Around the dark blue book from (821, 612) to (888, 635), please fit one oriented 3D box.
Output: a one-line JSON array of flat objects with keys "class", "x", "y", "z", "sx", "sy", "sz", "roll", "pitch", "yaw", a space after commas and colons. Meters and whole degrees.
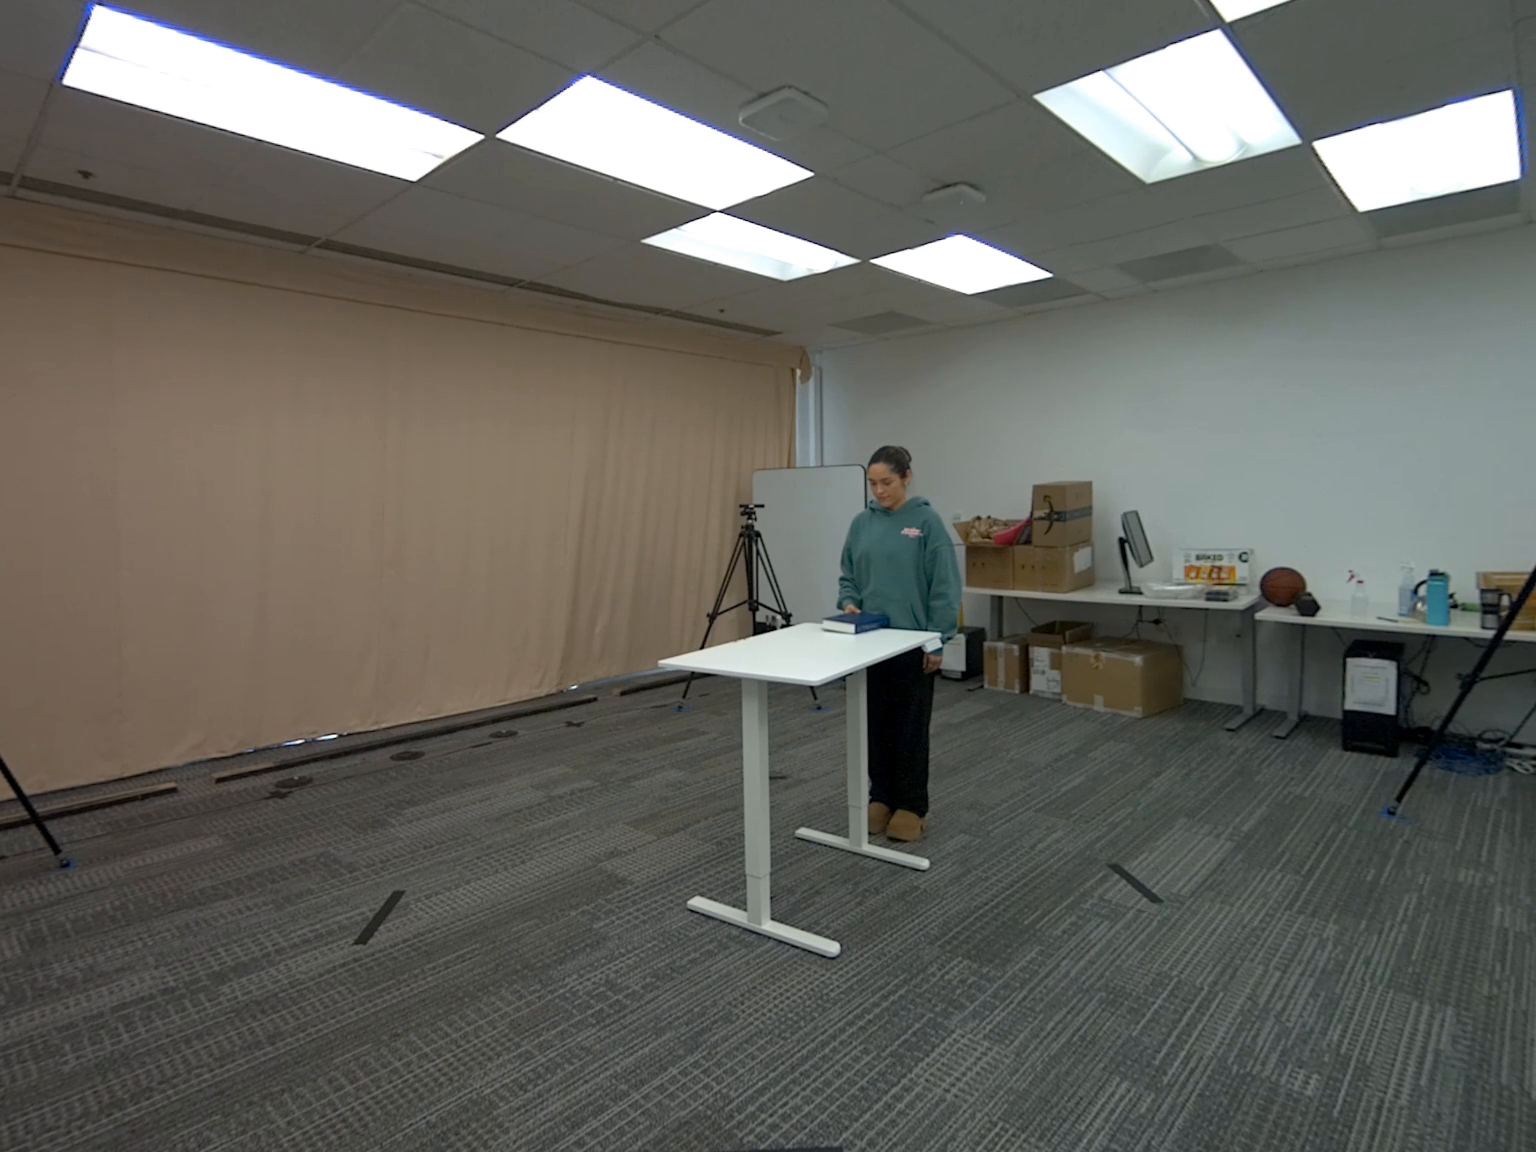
[{"class": "dark blue book", "x": 0.362, "y": 0.189, "z": 3.390, "sx": 0.169, "sy": 0.045, "sz": 0.238, "roll": 8, "pitch": 10, "yaw": 43}]
